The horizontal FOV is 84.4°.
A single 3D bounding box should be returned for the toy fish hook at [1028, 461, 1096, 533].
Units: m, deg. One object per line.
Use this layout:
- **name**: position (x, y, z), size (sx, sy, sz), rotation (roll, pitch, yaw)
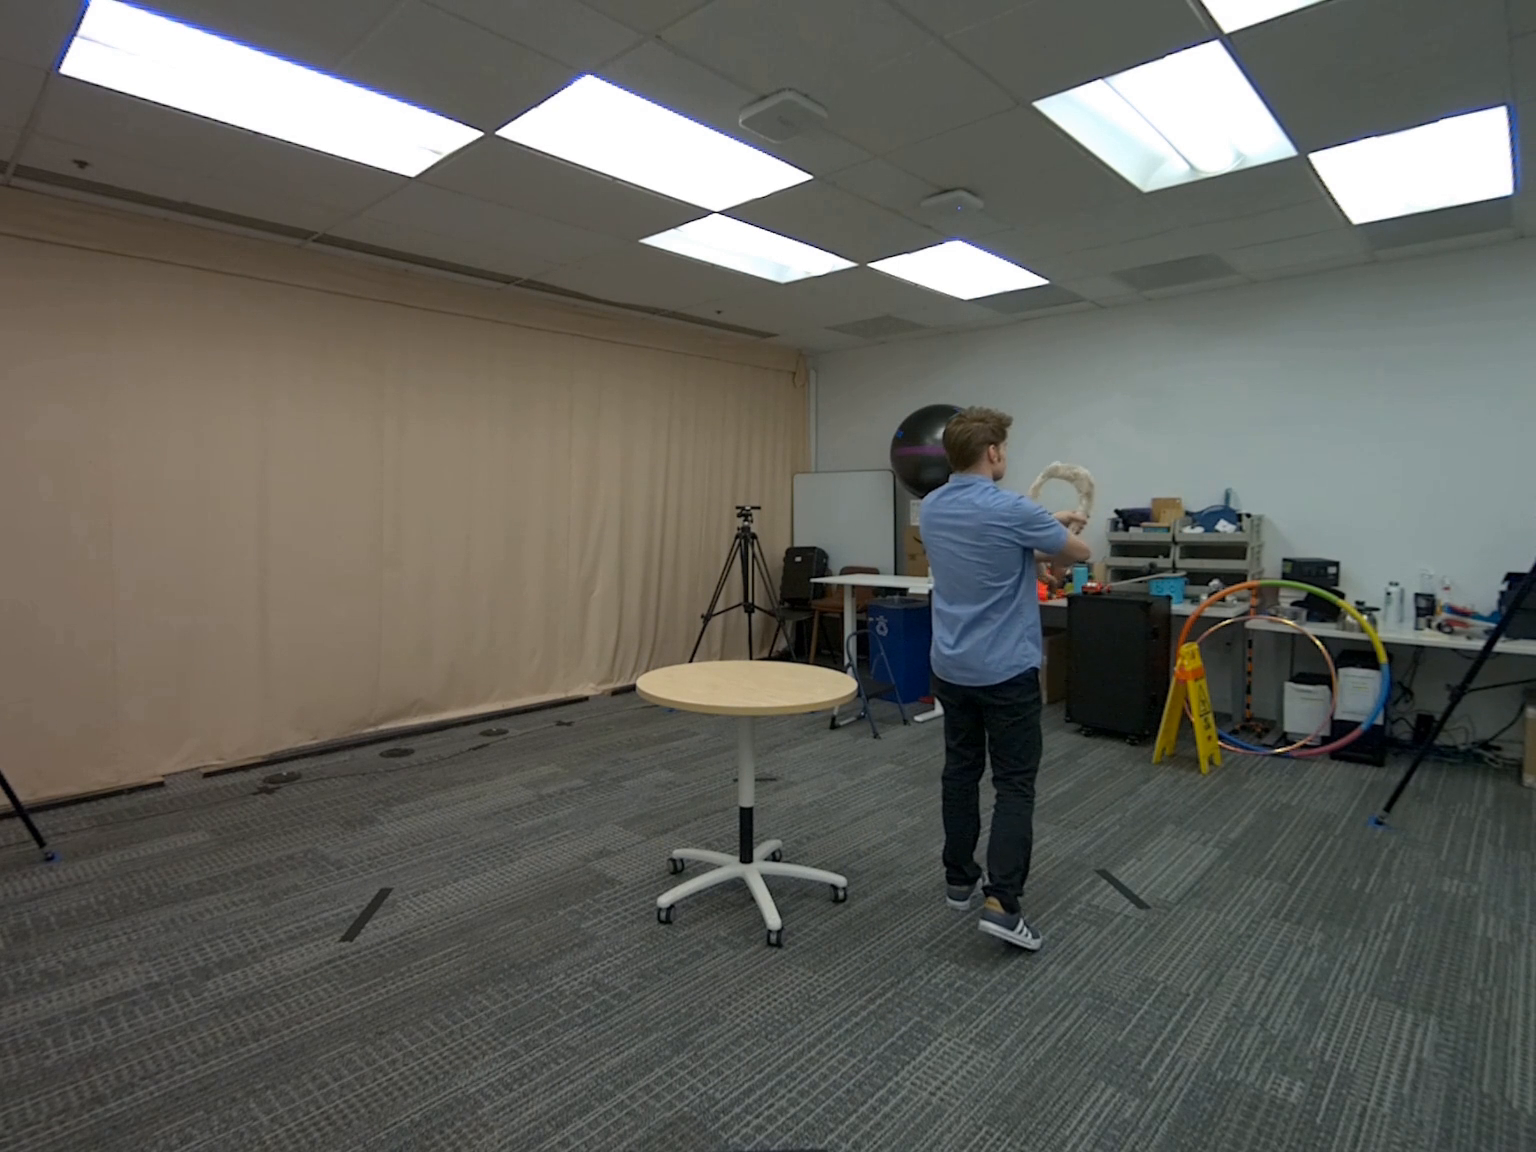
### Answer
- **toy fish hook**: position (1.060, -0.173, 3.102), size (0.230, 0.507, 0.047), rotation (15, -1, 21)
